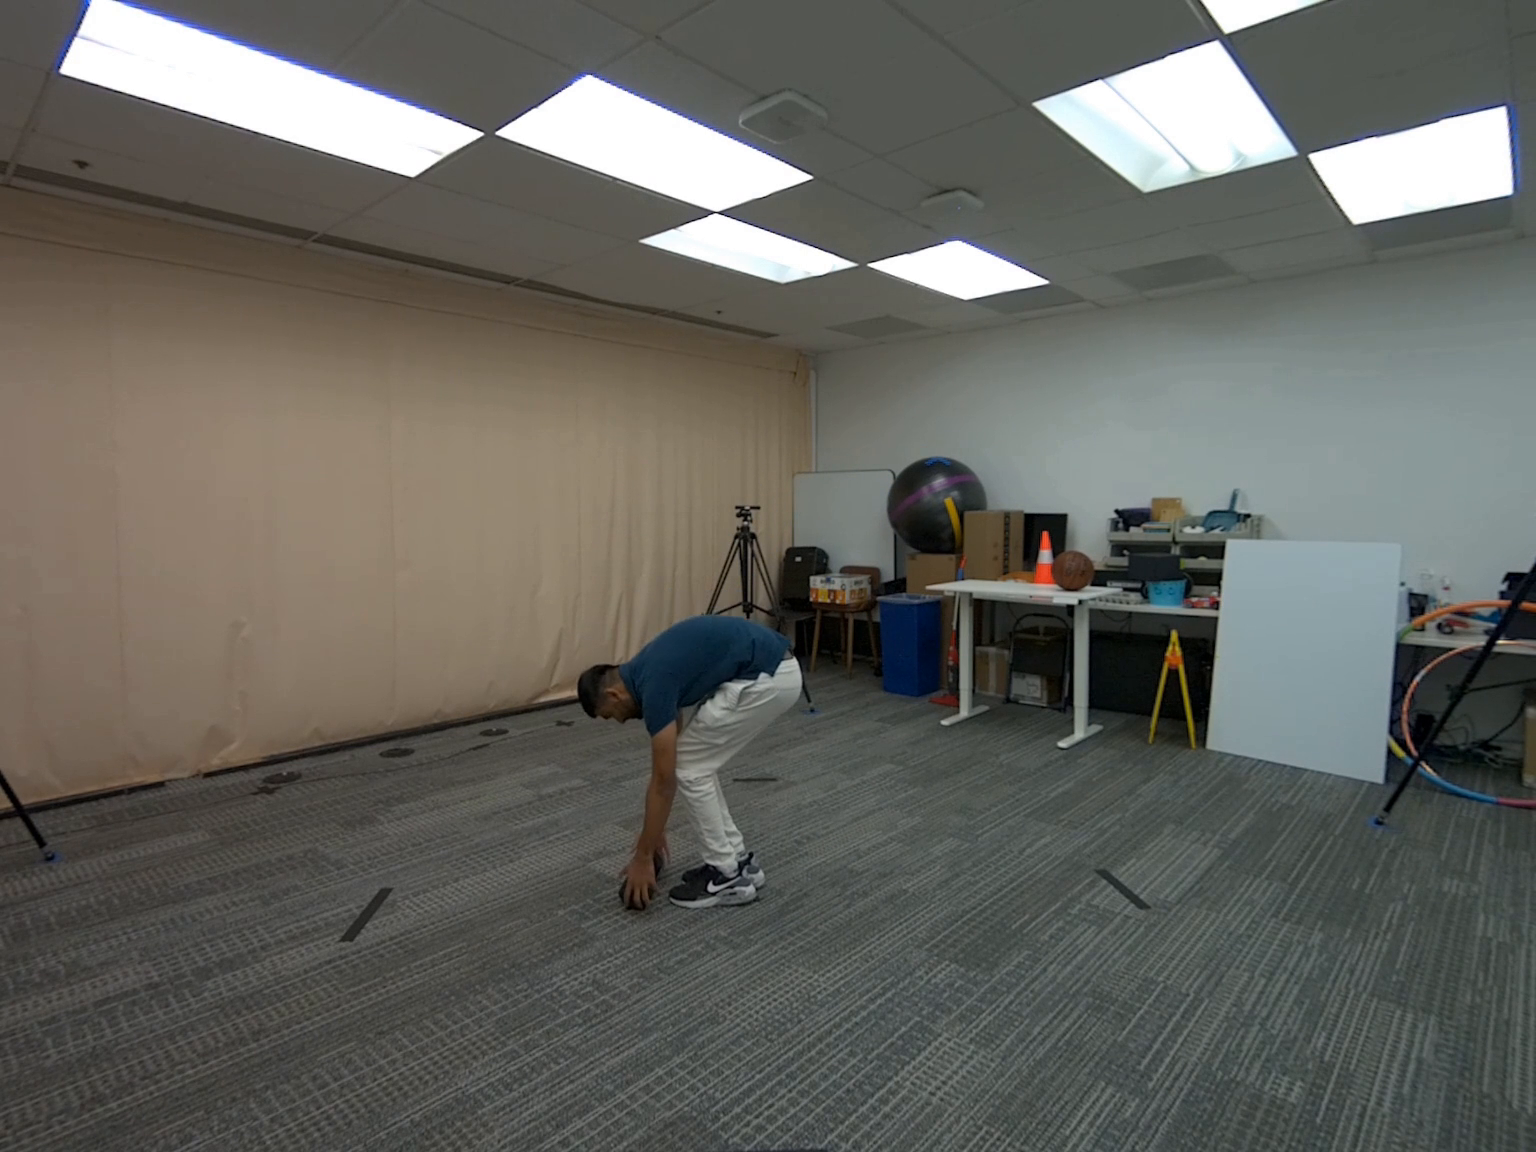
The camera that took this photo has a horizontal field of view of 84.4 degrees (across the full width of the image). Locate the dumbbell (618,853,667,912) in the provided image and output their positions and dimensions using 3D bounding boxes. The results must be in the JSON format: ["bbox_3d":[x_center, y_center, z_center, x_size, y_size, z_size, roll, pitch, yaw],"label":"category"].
[{"bbox_3d":[-0.434,1.095,3.050,0.109,0.123,0.293,-29,3,3],"label":"dumbbell"}]
